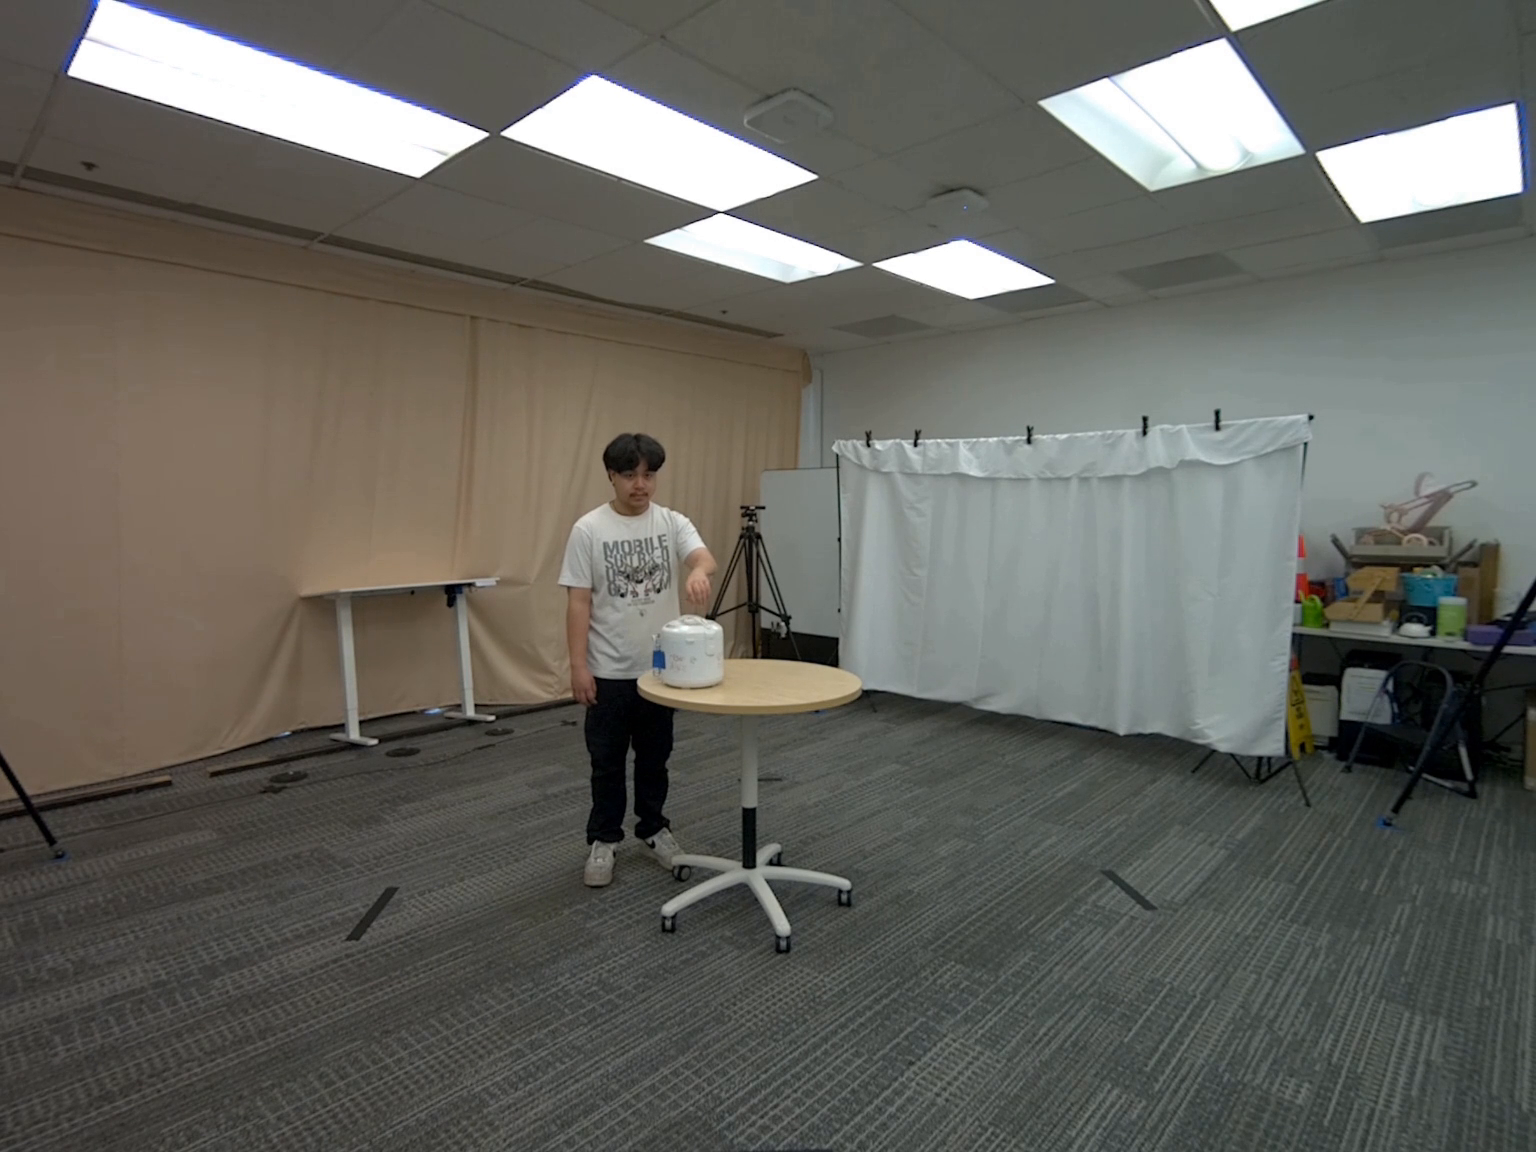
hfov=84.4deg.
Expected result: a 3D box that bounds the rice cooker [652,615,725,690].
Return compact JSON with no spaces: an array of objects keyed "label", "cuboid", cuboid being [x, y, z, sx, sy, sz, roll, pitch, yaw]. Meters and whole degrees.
[{"label":"rice cooker","cuboid":[-0.251,0.245,2.814,0.211,0.232,0.228,-4,6,-40]}]
